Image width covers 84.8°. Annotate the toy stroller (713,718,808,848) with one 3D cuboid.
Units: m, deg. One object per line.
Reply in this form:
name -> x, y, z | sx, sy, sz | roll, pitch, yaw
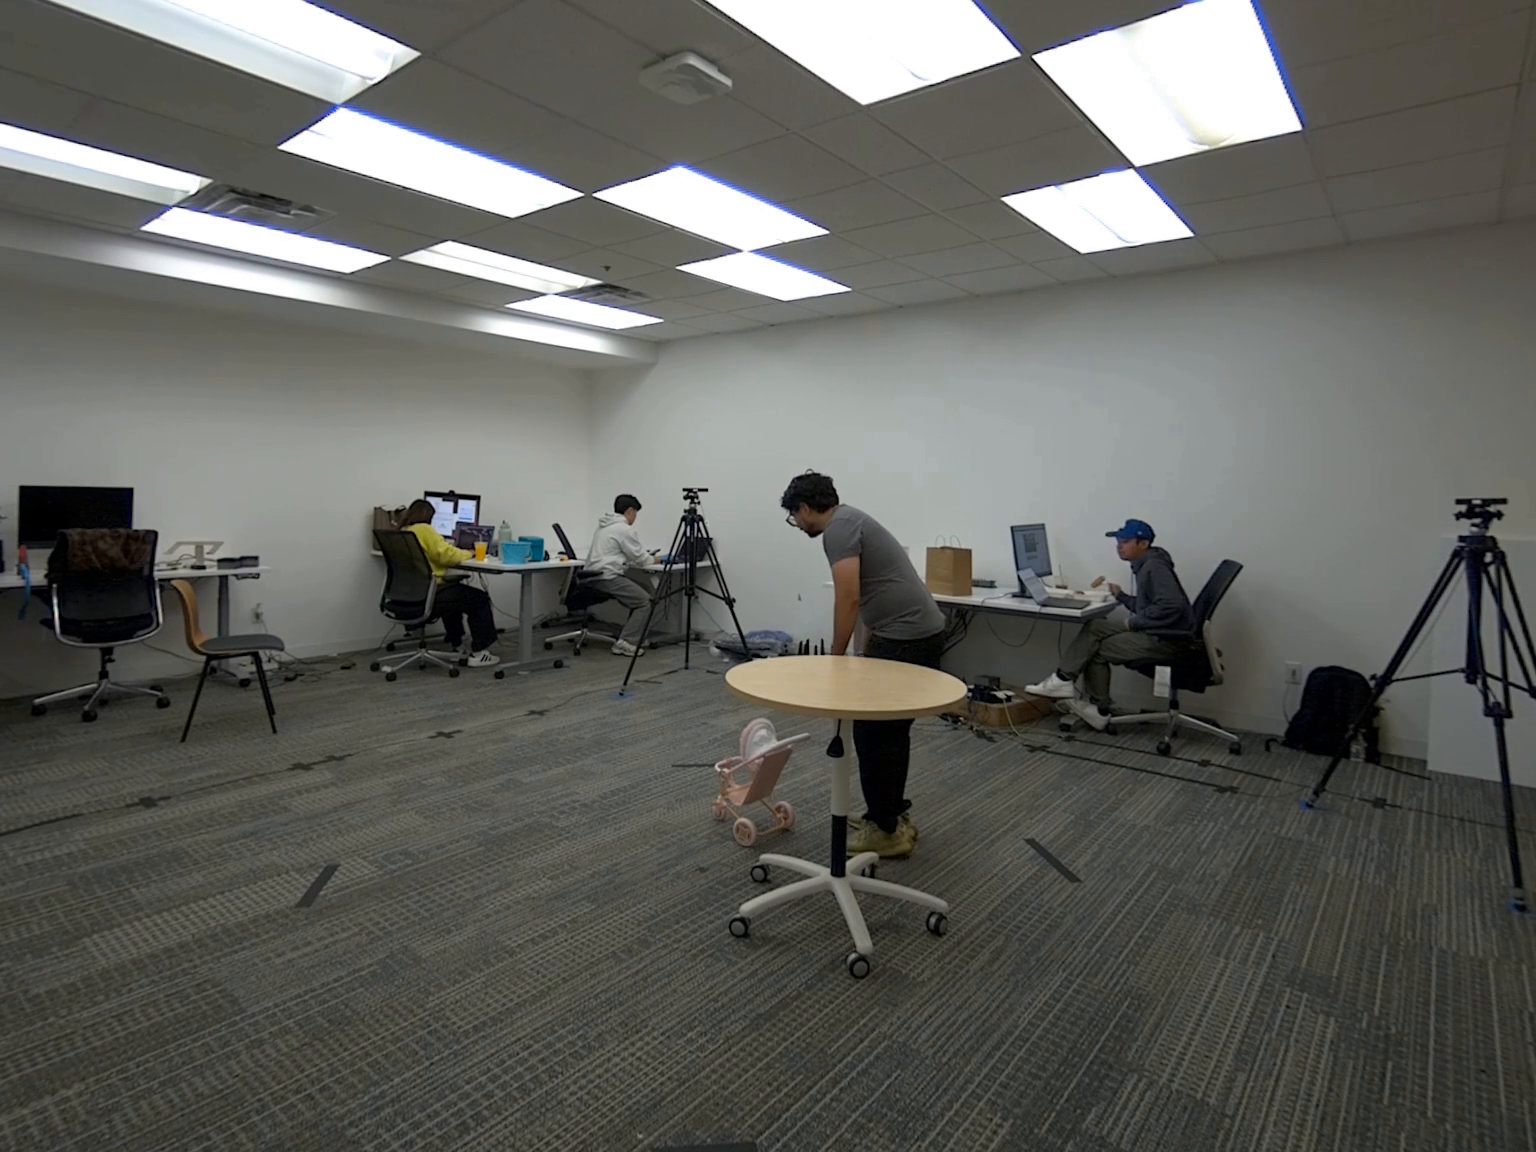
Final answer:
toy stroller -> -0.069, 0.814, 3.451 | 0.273, 0.530, 0.355 | -2, 20, -46
